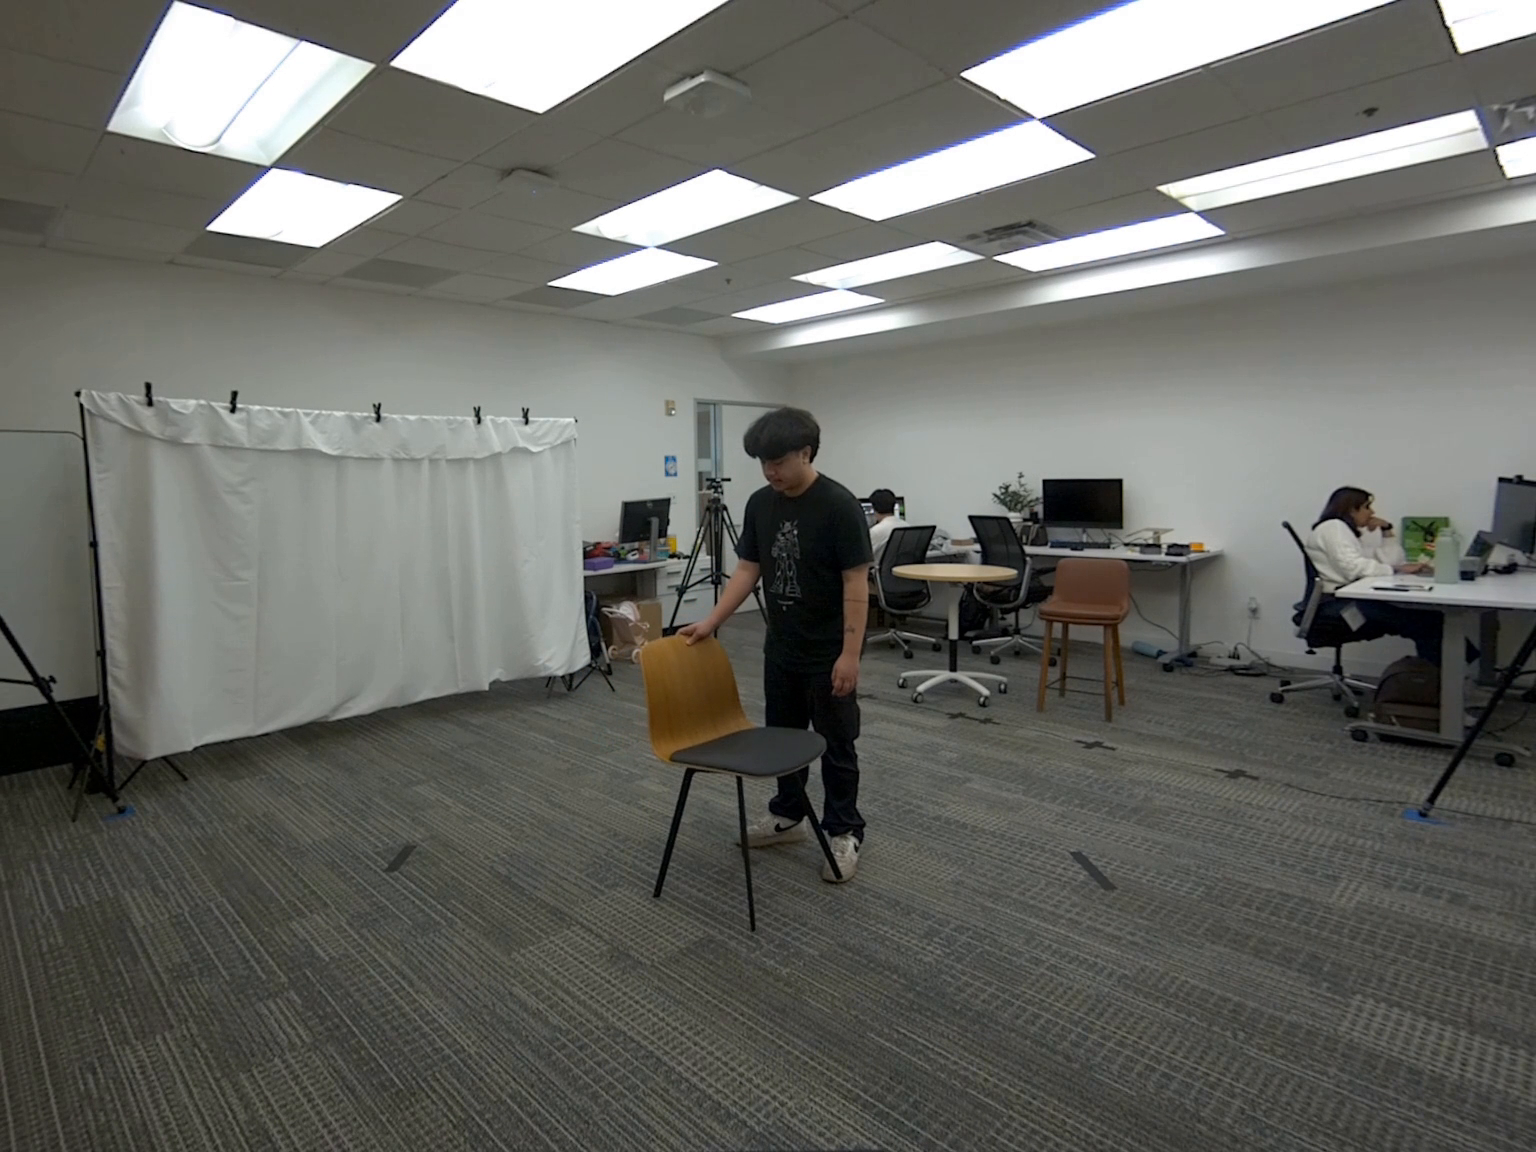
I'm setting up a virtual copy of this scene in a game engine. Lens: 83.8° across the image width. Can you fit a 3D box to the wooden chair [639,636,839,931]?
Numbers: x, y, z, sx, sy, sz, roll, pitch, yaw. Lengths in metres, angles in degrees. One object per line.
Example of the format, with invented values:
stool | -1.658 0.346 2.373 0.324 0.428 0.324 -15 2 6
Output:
wooden chair | -0.101 0.624 2.852 0.535 0.881 0.465 -11 -4 43
